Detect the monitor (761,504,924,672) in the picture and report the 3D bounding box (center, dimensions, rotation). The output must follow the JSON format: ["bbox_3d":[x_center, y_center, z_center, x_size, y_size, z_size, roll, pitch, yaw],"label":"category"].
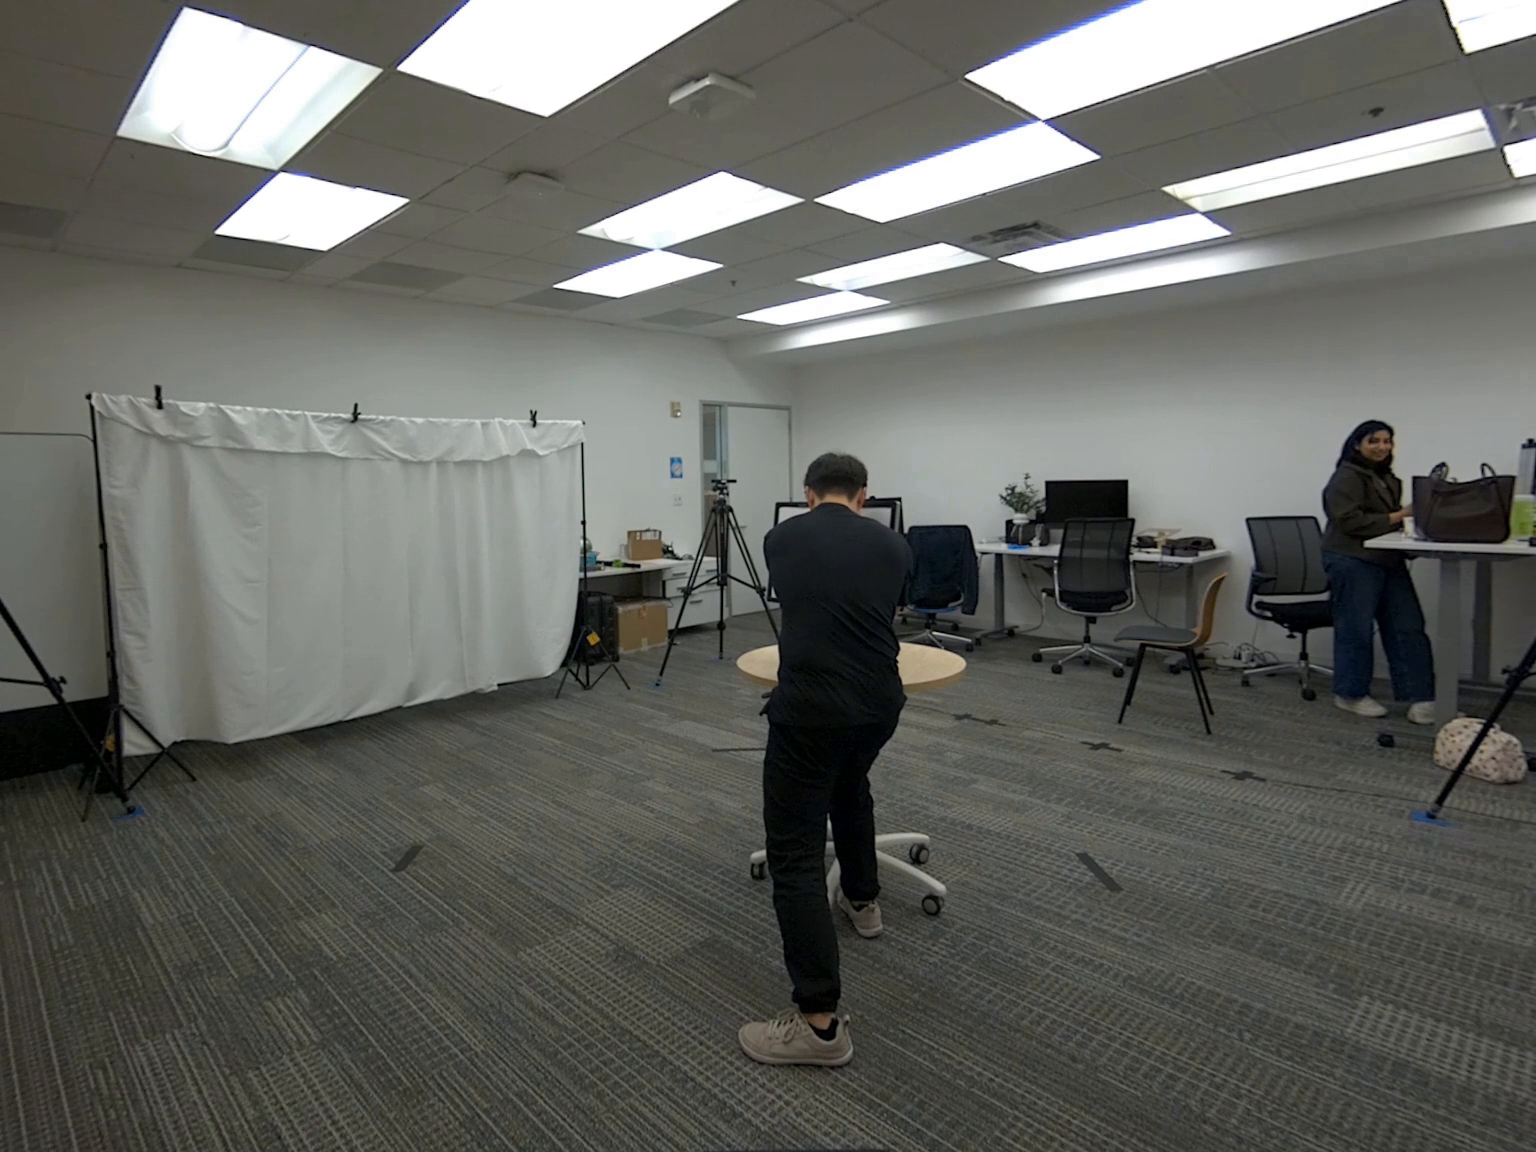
[{"bbox_3d":[0.241,0.021,2.921,0.182,0.520,0.555,-7,7,-42],"label":"monitor"}]
